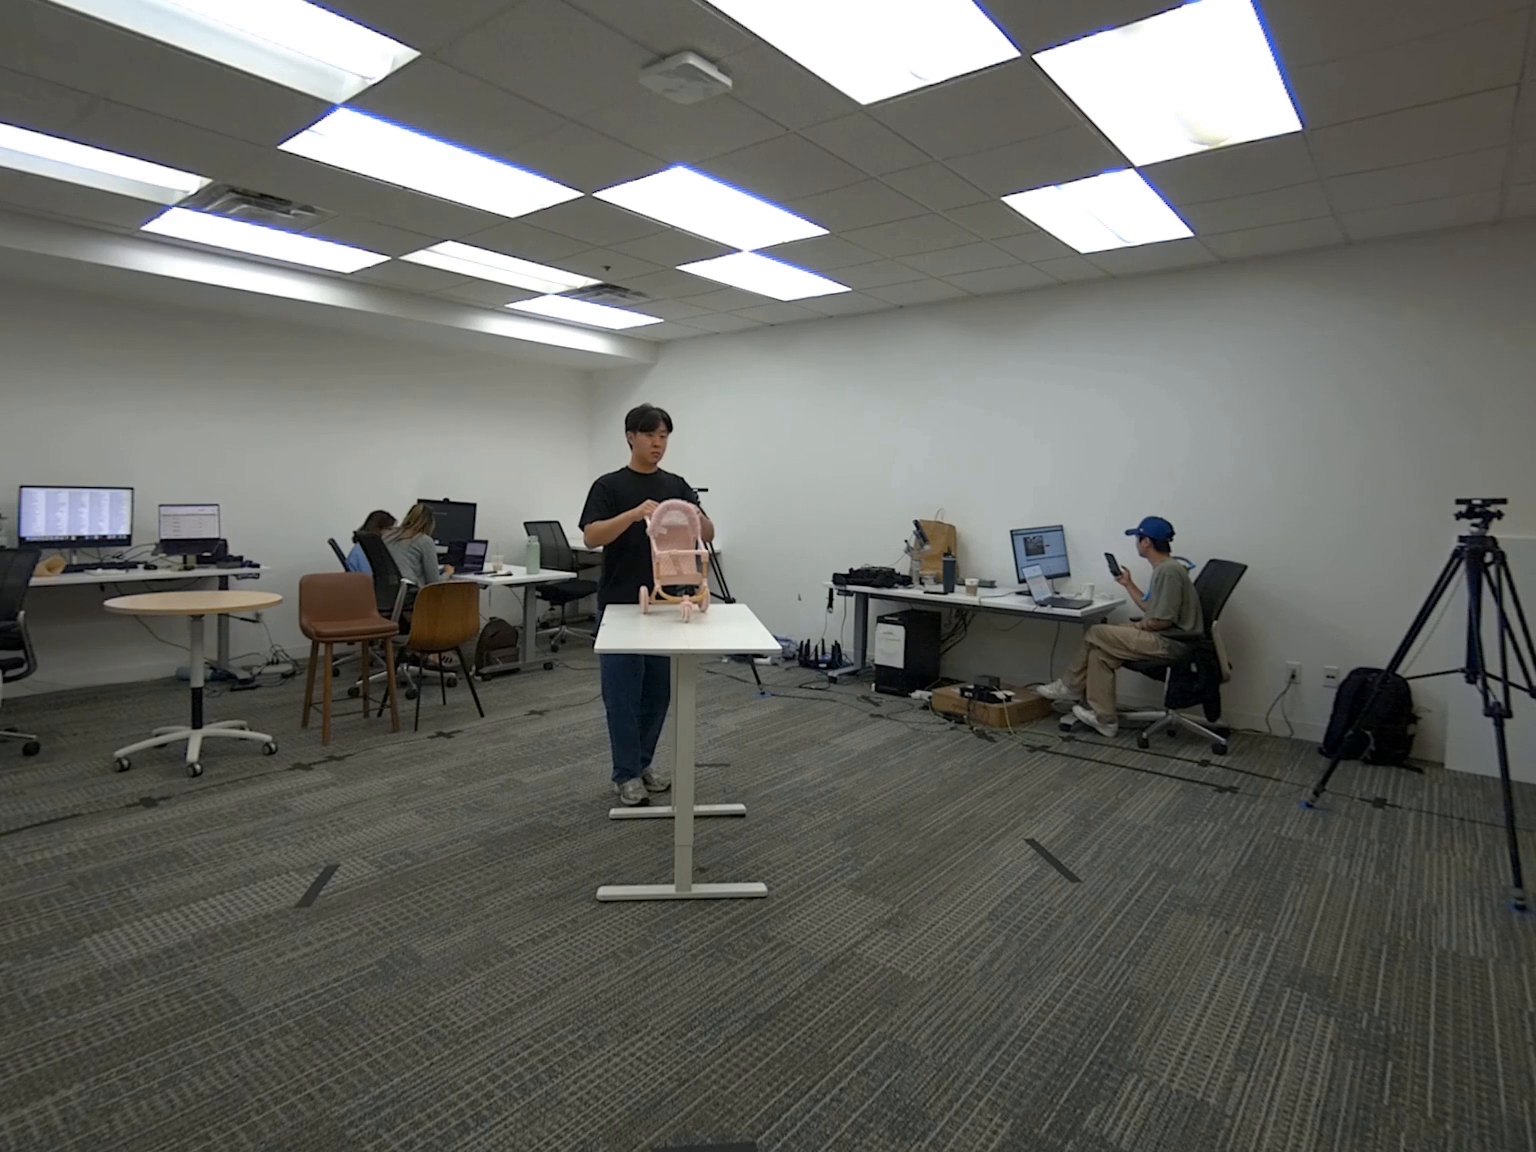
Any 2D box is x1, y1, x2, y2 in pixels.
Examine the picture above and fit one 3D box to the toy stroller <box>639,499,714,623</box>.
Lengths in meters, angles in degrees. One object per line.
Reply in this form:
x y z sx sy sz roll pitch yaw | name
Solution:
-0.376 -0.070 3.394 0.278 0.541 0.341 -1 -11 -12 | toy stroller
